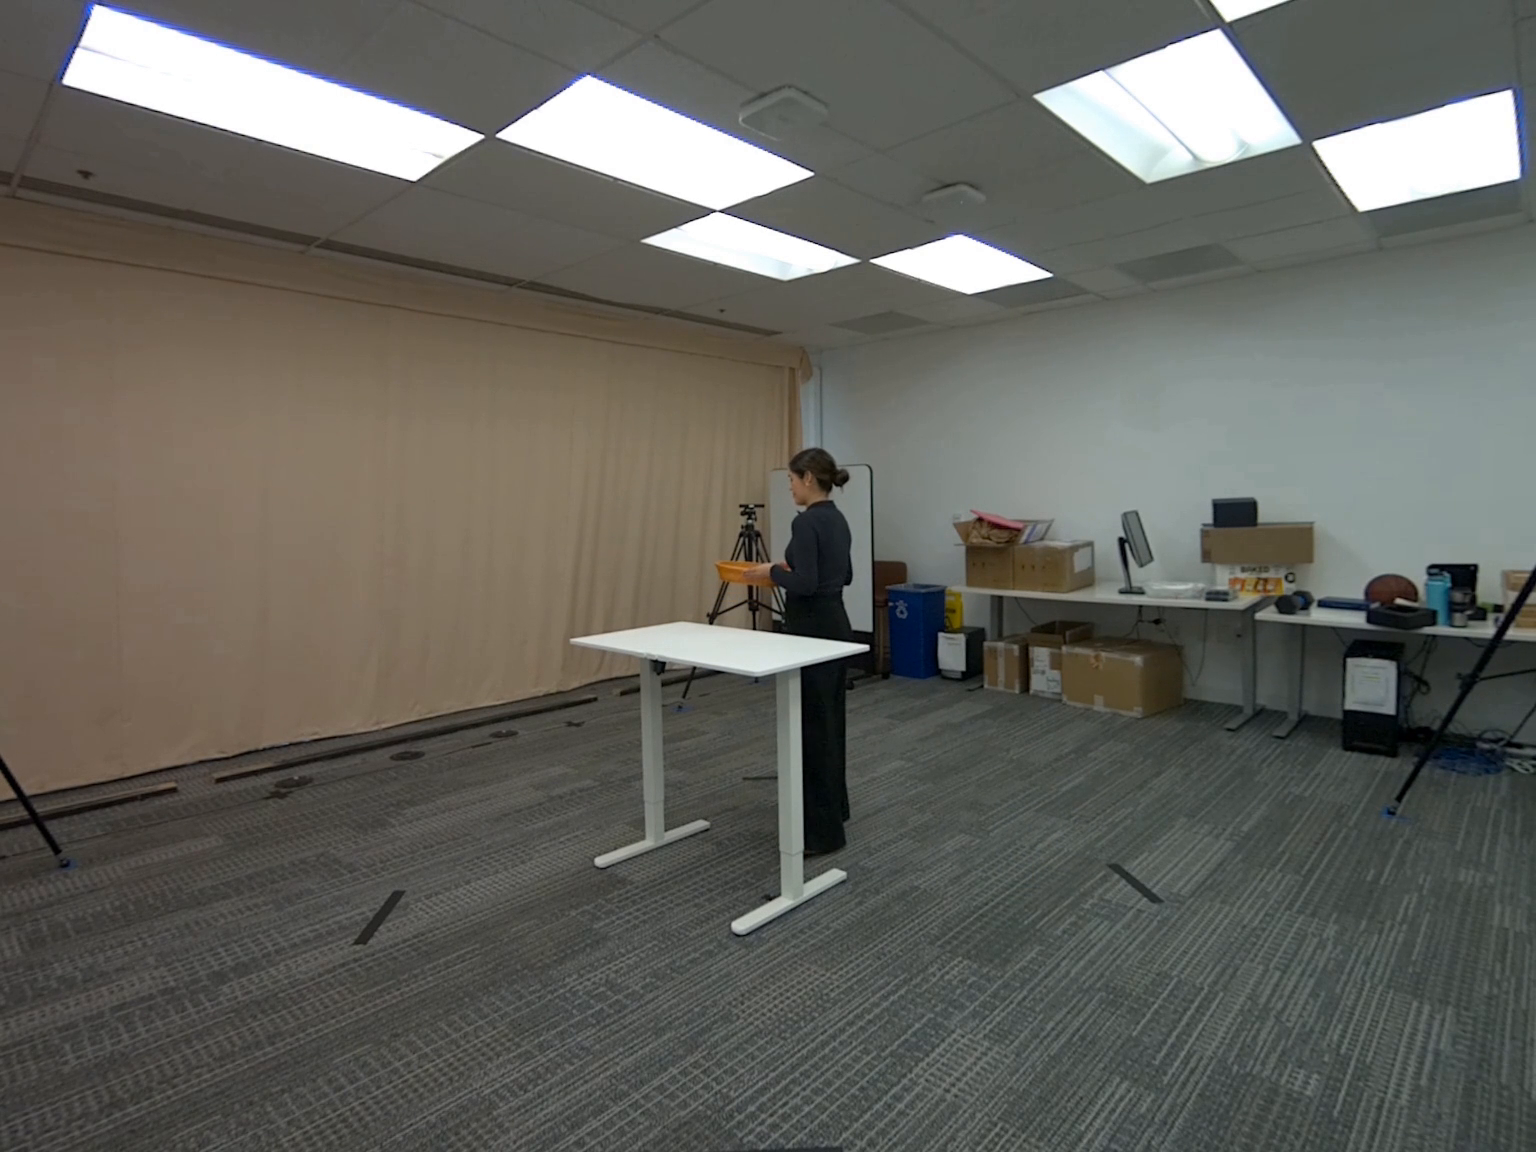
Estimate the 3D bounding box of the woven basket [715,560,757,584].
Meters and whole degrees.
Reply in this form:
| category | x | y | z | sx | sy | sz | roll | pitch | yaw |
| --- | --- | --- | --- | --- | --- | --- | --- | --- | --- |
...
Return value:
| category | x | y | z | sx | sy | sz | roll | pitch | yaw |
| --- | --- | --- | --- | --- | --- | --- | --- | --- | --- |
| woven basket | -0.048 | -0.008 | 3.764 | 0.352 | 0.073 | 0.252 | 3 | 7 | 3 |
